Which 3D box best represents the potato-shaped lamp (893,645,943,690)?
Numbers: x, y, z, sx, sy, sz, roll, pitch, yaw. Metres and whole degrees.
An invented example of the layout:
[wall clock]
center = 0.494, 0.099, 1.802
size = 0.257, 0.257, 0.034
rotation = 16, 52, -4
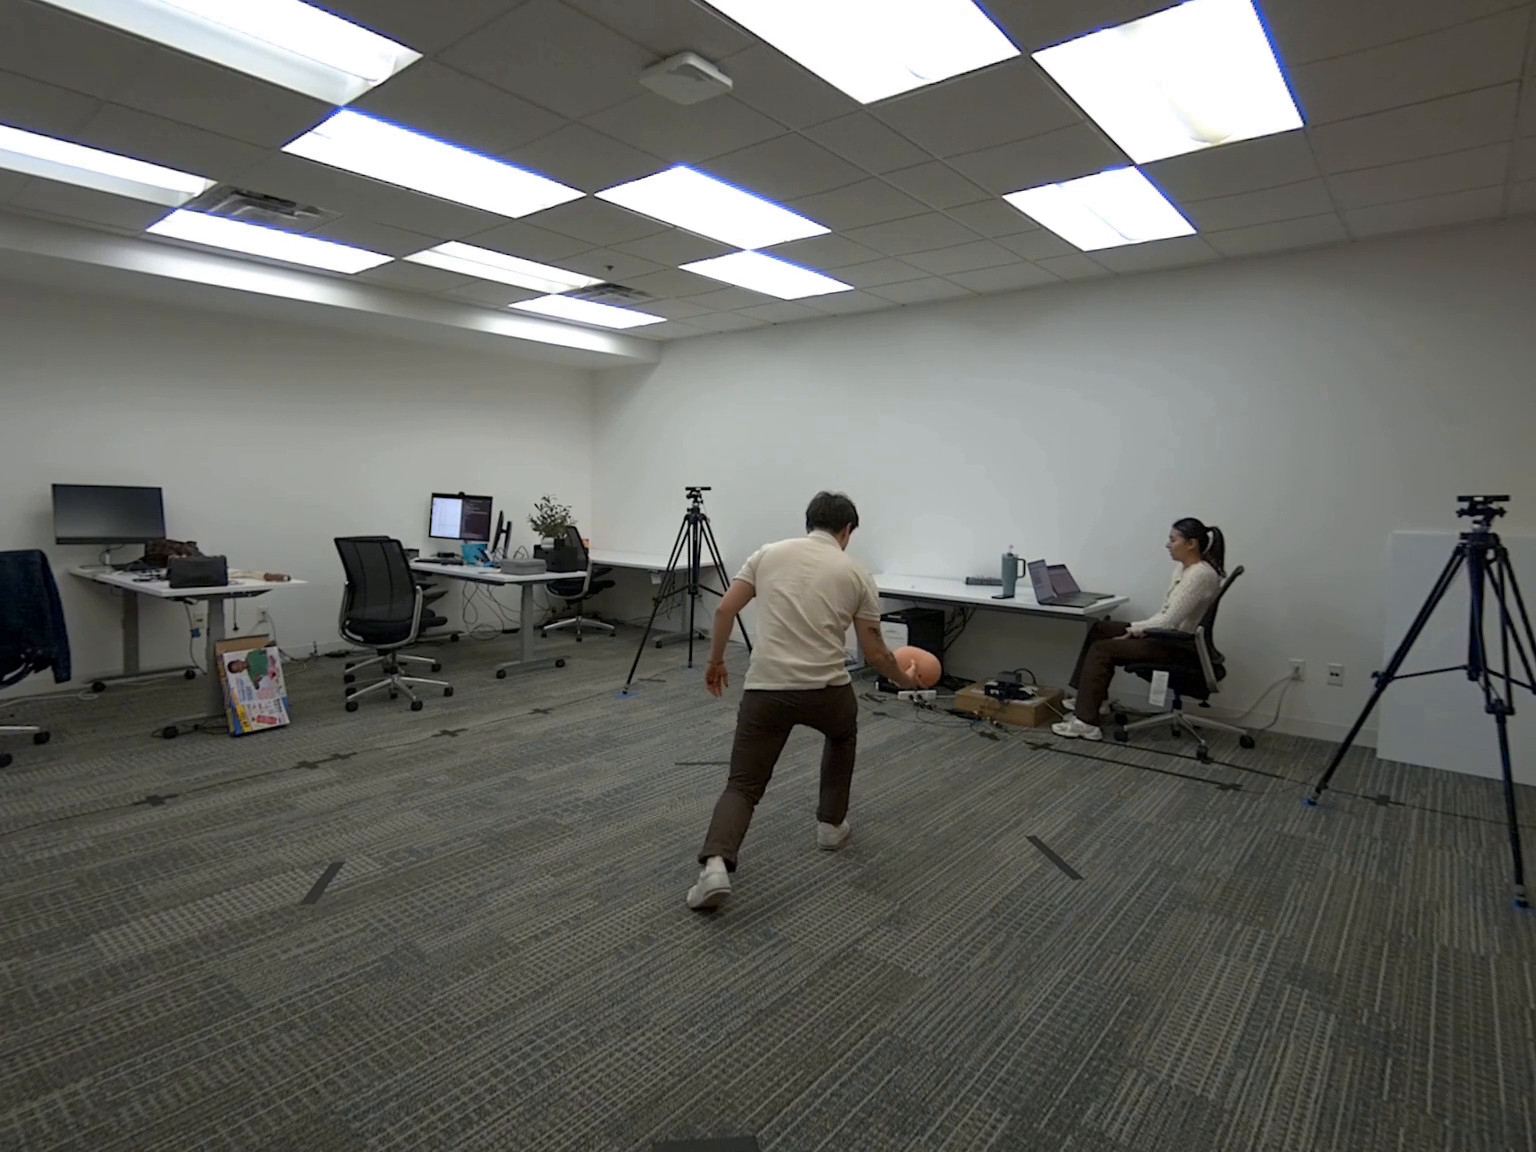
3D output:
[potato-shaped lamp]
center = 0.603, 0.374, 3.484
size = 0.205, 0.160, 0.170
rotation = 15, 37, 32
